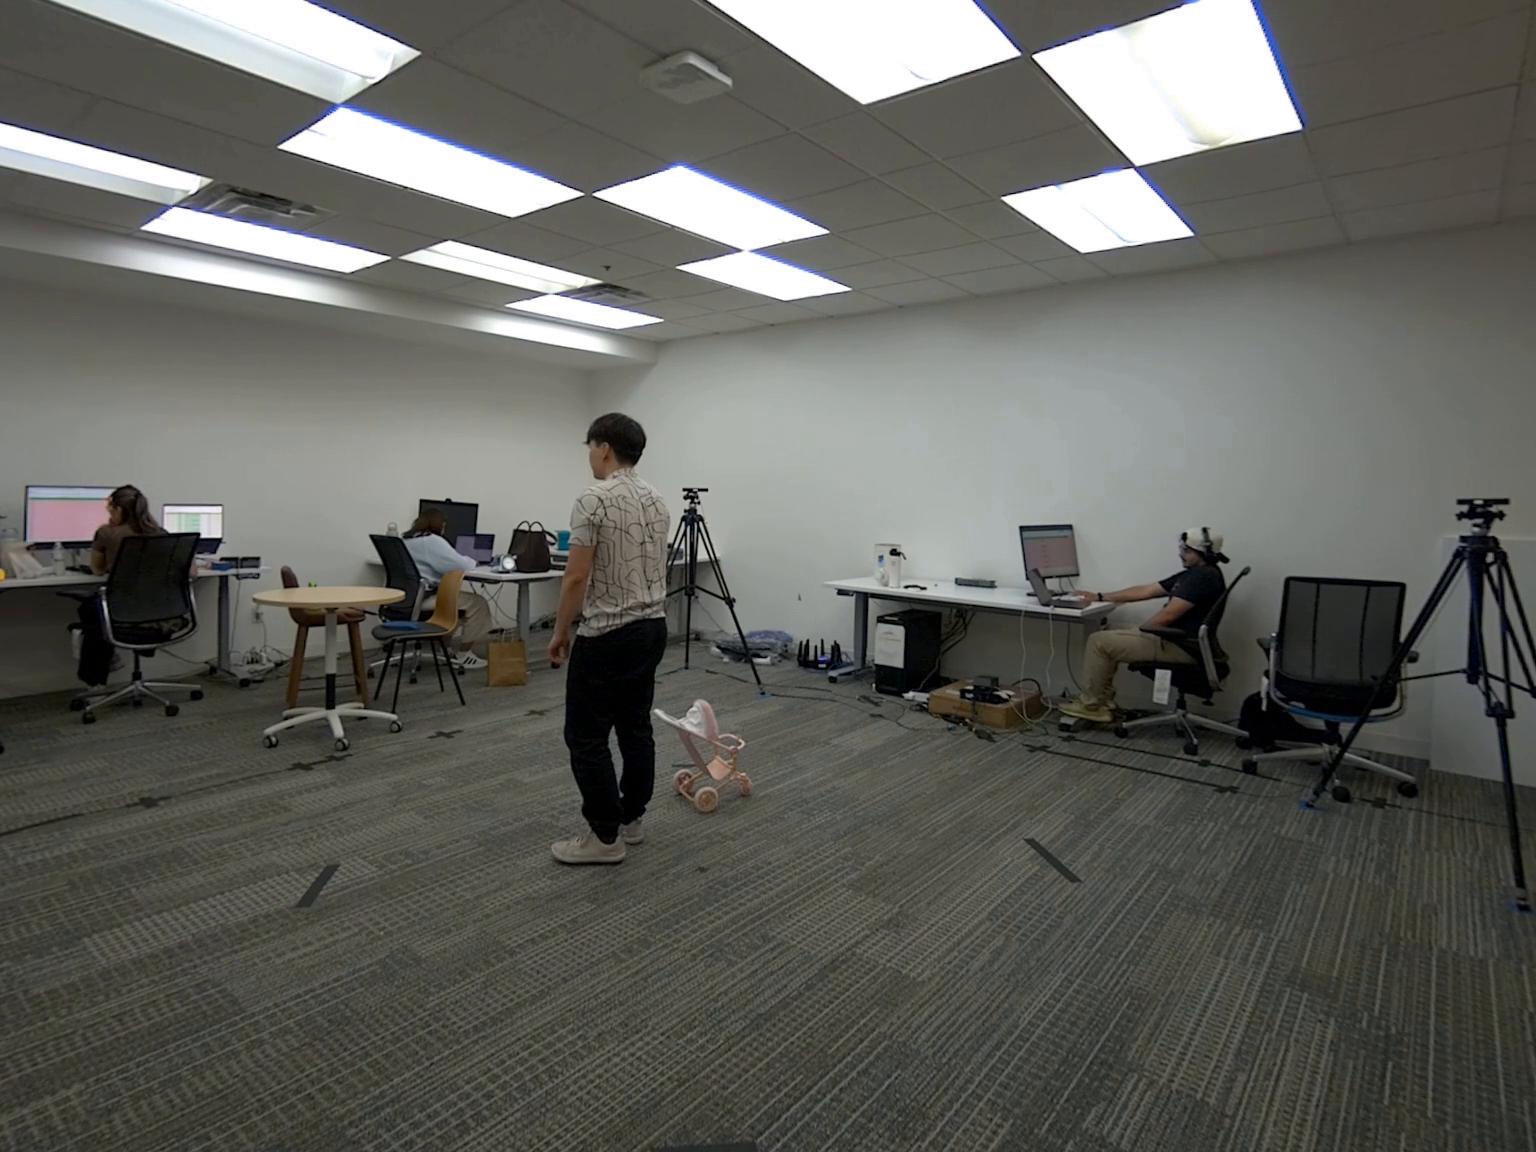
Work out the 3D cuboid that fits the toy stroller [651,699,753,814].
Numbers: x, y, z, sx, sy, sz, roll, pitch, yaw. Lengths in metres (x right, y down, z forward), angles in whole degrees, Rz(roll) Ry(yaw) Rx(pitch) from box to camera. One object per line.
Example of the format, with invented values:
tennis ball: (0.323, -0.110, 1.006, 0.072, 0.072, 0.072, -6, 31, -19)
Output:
toy stroller: (-0.281, 0.780, 3.788, 0.337, 0.529, 0.288, -20, 10, -20)
